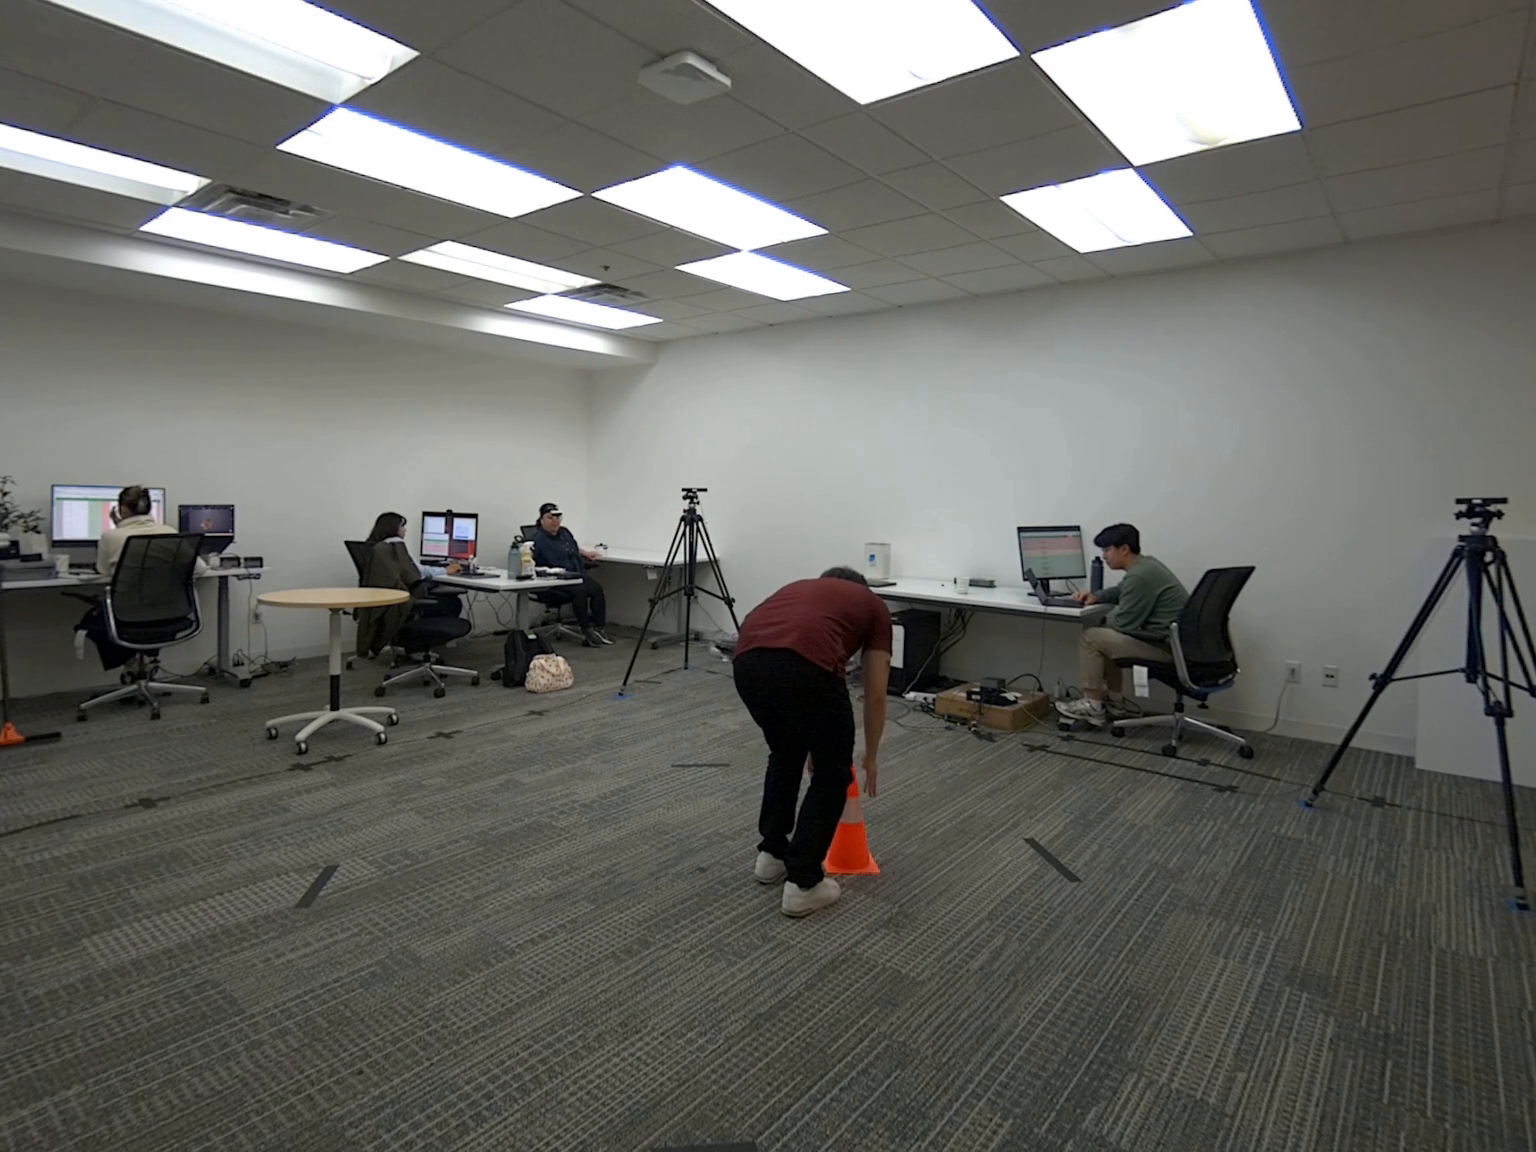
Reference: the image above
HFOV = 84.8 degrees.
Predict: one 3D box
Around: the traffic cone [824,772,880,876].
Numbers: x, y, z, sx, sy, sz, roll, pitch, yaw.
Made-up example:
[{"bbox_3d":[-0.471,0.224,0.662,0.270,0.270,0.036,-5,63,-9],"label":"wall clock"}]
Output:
[{"bbox_3d":[0.308,0.890,3.197,0.204,0.383,0.204,5,2,-4],"label":"traffic cone"}]
